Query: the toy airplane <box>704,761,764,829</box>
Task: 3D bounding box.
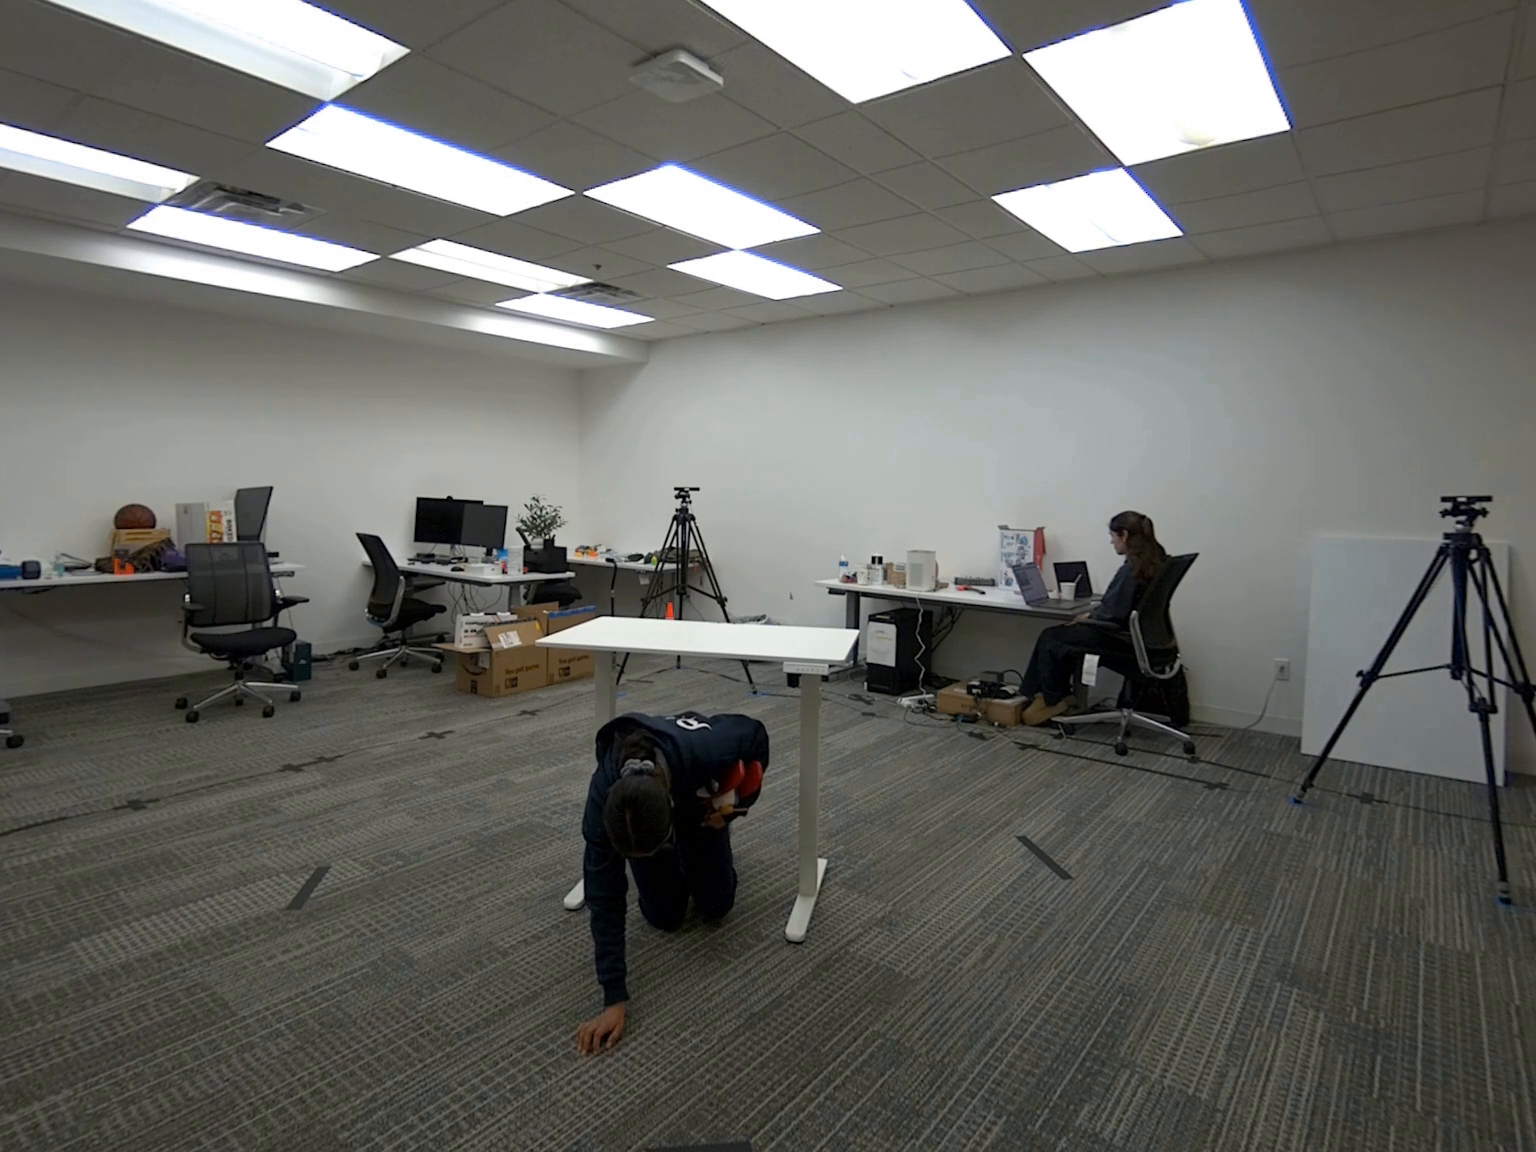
[{"bbox_3d":[-0.139,0.579,2.550,0.151,0.261,0.258,33,-22,-30],"label":"toy airplane"}]
